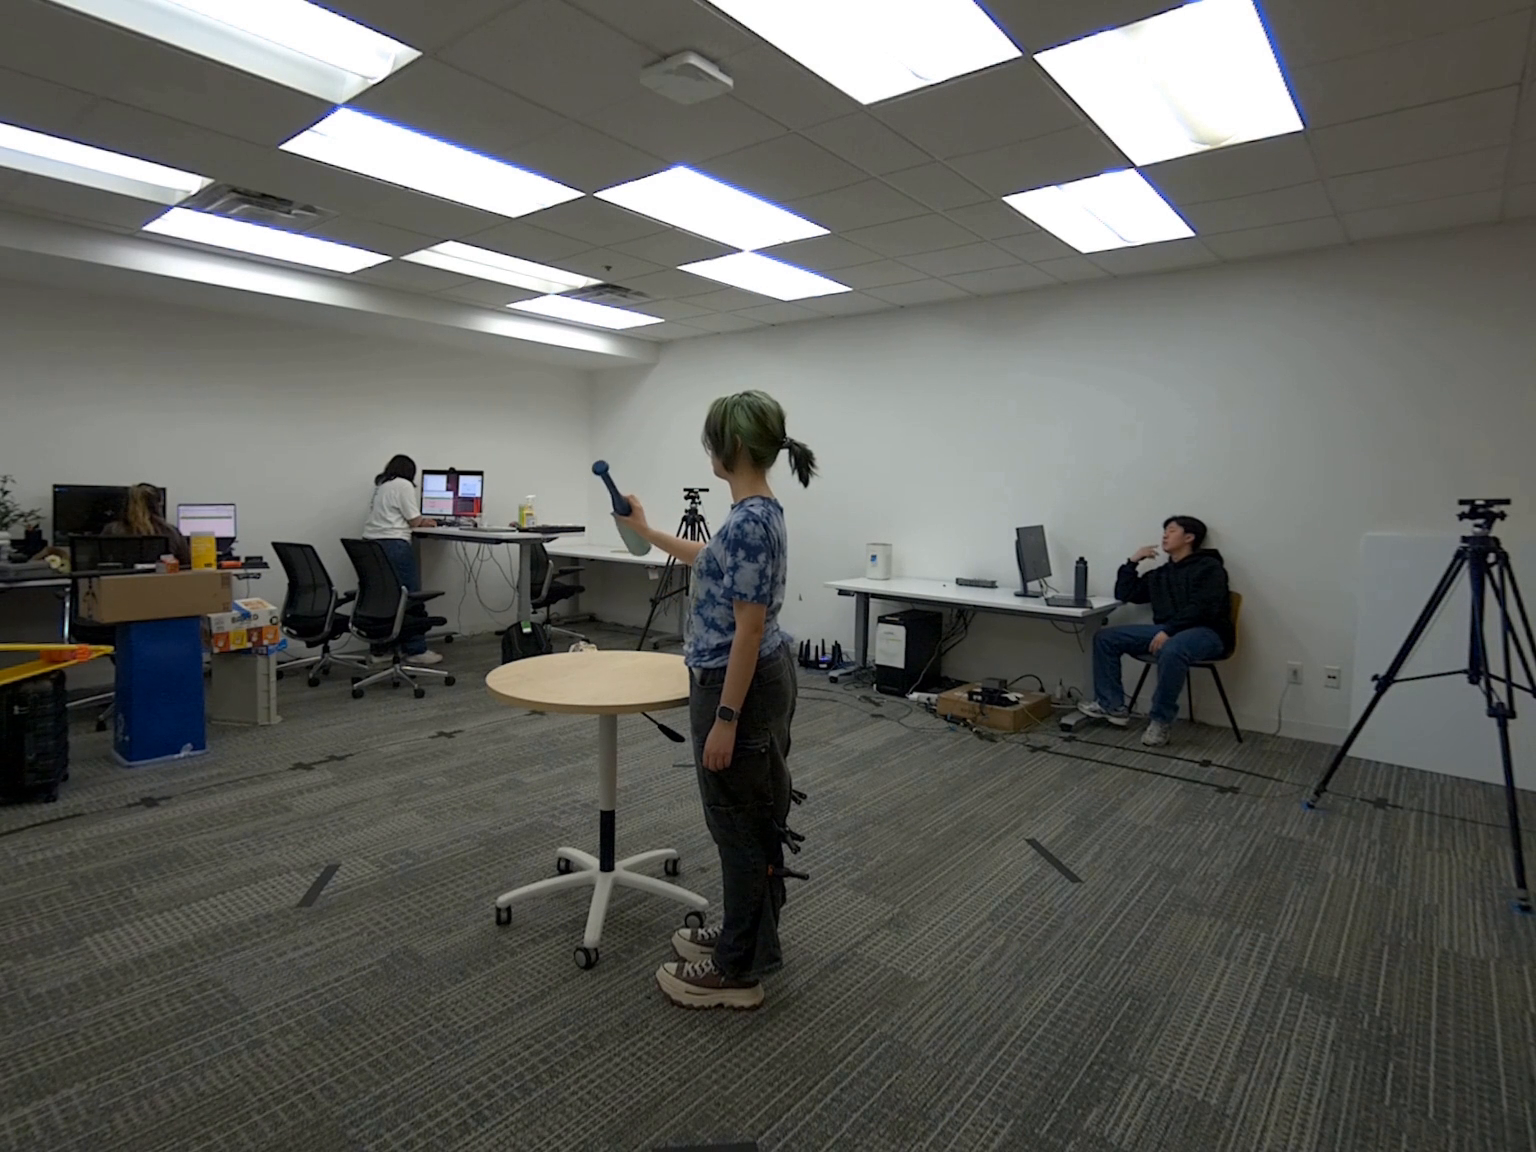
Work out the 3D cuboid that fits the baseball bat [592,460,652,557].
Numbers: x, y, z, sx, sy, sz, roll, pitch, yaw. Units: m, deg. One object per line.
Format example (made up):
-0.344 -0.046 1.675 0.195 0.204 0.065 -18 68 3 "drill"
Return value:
-0.486 -0.212 2.688 0.090 0.091 0.527 2 -24 7 "baseball bat"
